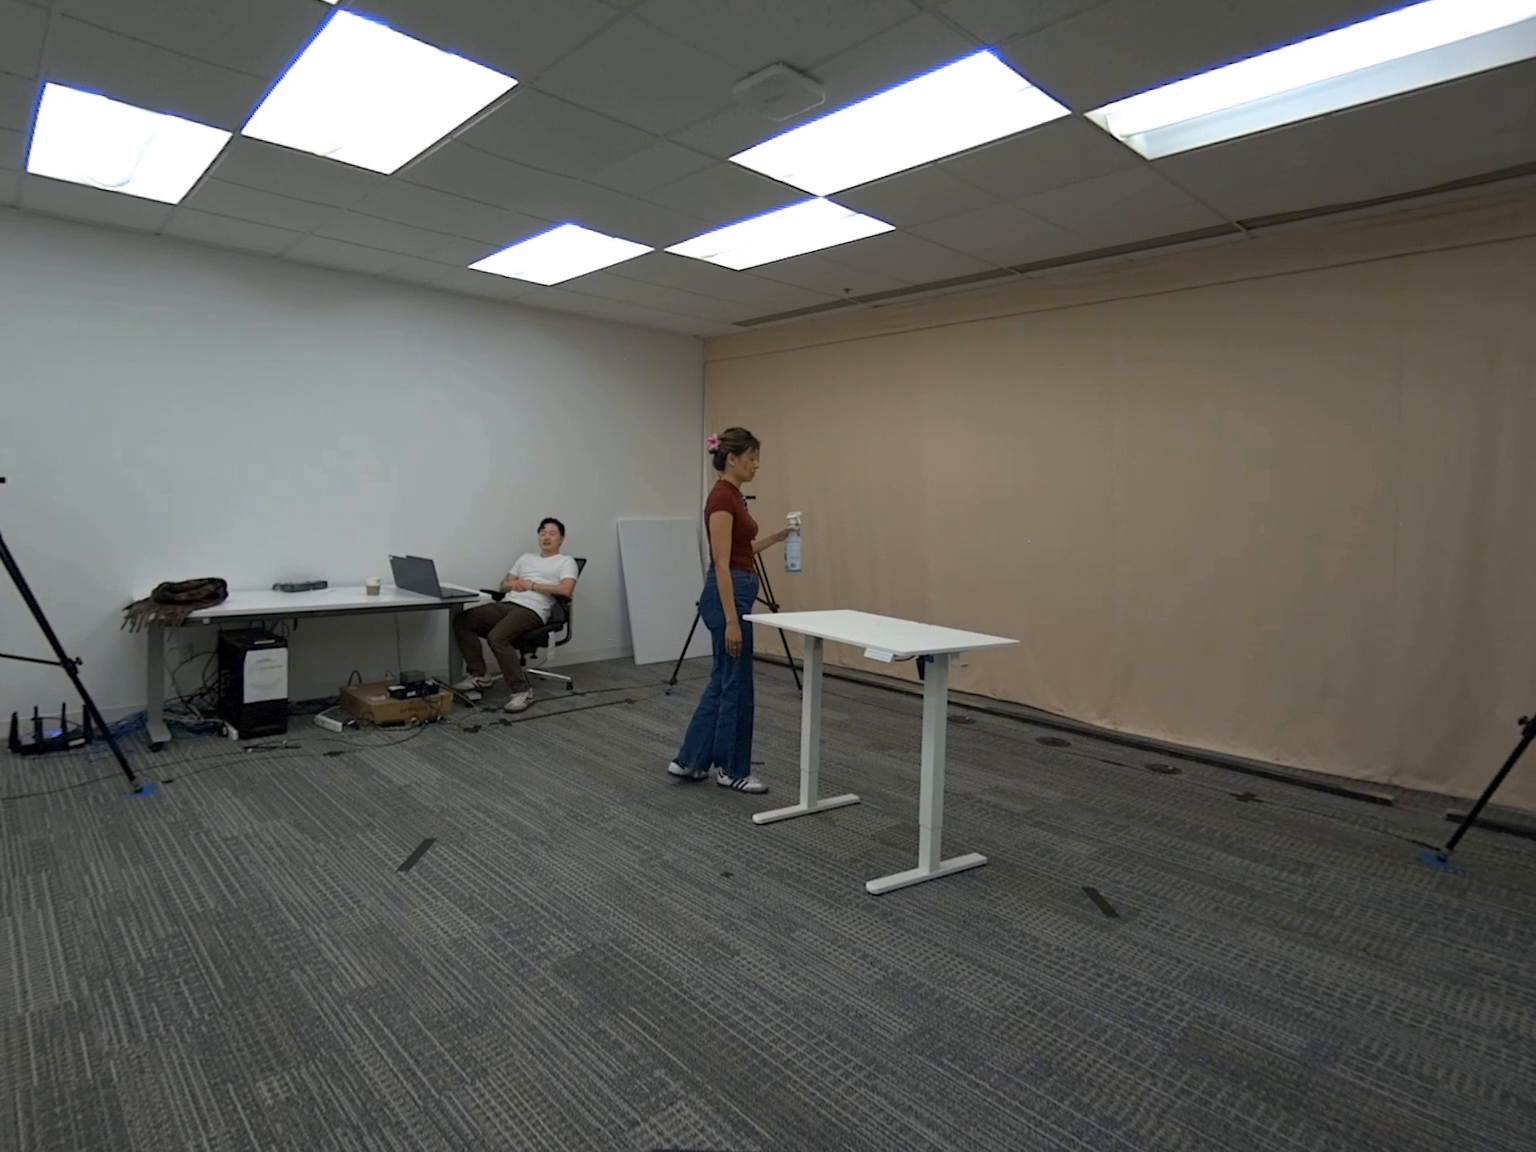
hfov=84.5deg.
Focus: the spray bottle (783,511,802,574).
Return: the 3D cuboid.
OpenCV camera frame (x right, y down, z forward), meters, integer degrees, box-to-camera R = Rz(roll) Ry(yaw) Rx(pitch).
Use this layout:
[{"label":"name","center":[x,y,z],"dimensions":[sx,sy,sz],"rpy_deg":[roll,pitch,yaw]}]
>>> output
[{"label":"spray bottle","center":[0.103,-0.170,4.179],"dimensions":[0.085,0.296,0.092],"rpy_deg":[-2,6,-26]}]
